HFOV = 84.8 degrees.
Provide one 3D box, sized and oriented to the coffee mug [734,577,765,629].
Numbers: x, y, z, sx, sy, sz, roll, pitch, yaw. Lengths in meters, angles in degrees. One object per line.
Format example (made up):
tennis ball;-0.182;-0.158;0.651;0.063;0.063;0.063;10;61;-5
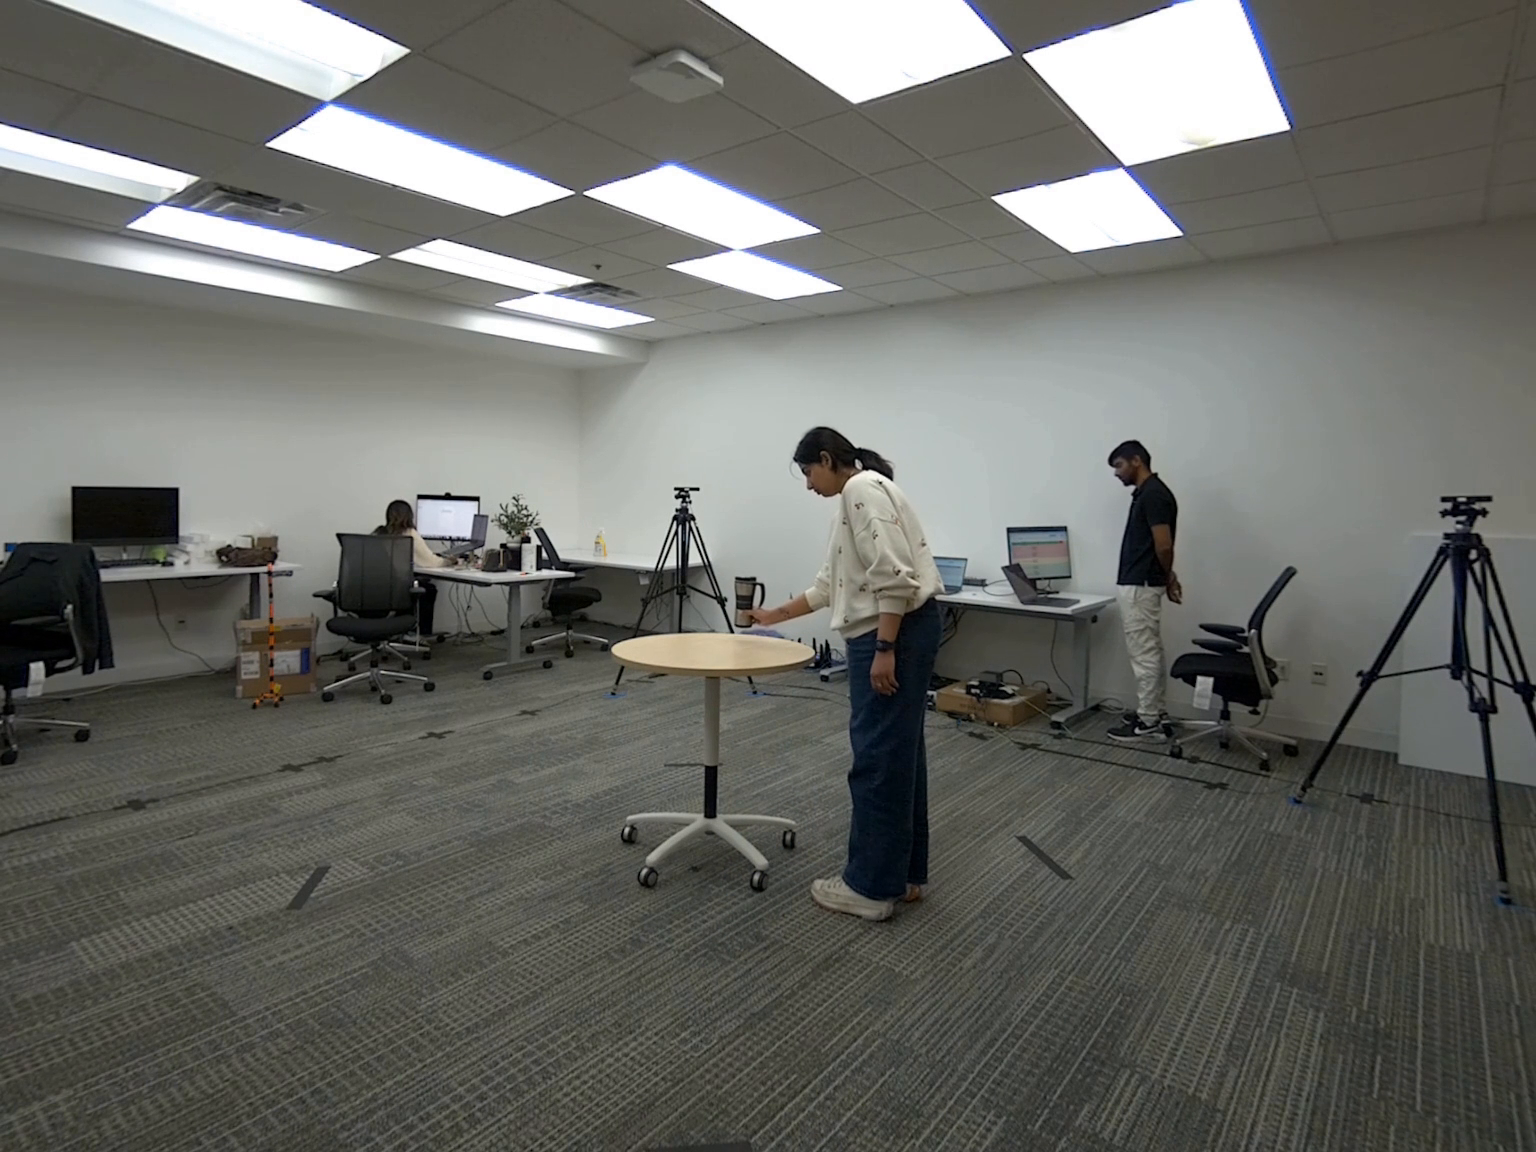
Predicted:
coffee mug;-0.115;0.095;3.408;0.085;0.201;0.127;-4;14;-36
